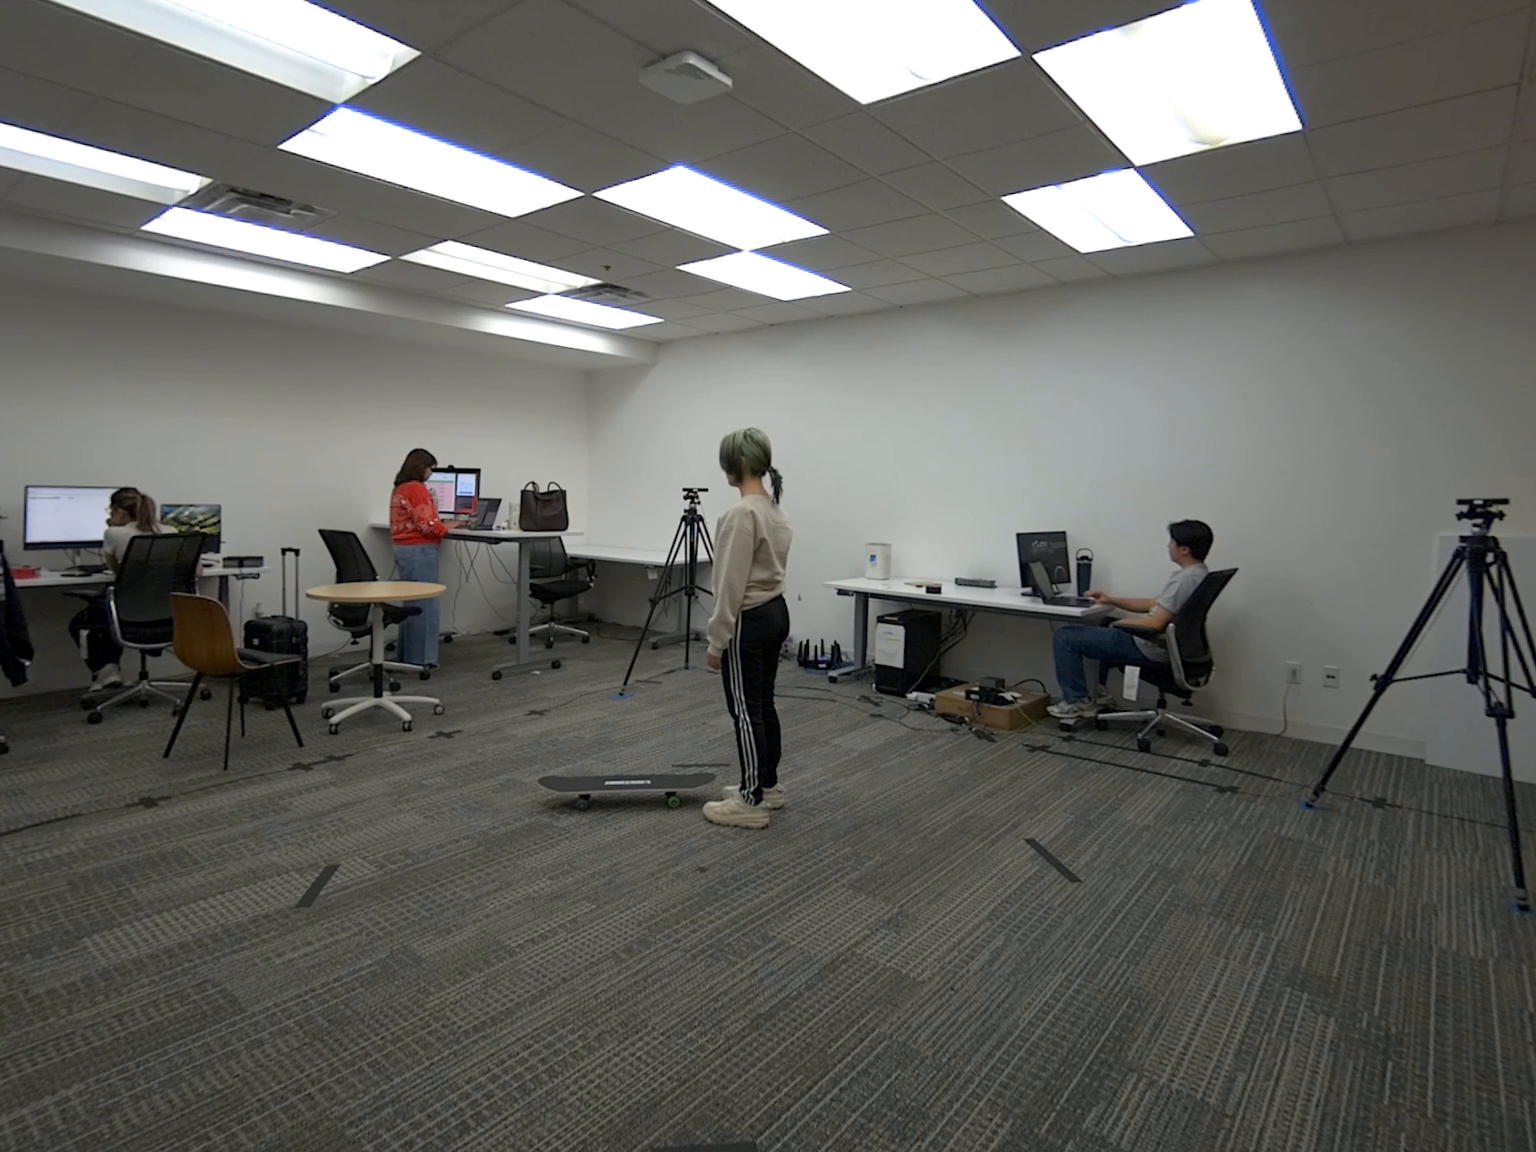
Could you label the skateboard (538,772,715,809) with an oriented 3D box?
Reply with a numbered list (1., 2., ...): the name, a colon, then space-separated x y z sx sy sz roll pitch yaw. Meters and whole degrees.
1. skateboard: -0.627 0.938 3.754 0.779 0.110 0.196 1 5 -7
